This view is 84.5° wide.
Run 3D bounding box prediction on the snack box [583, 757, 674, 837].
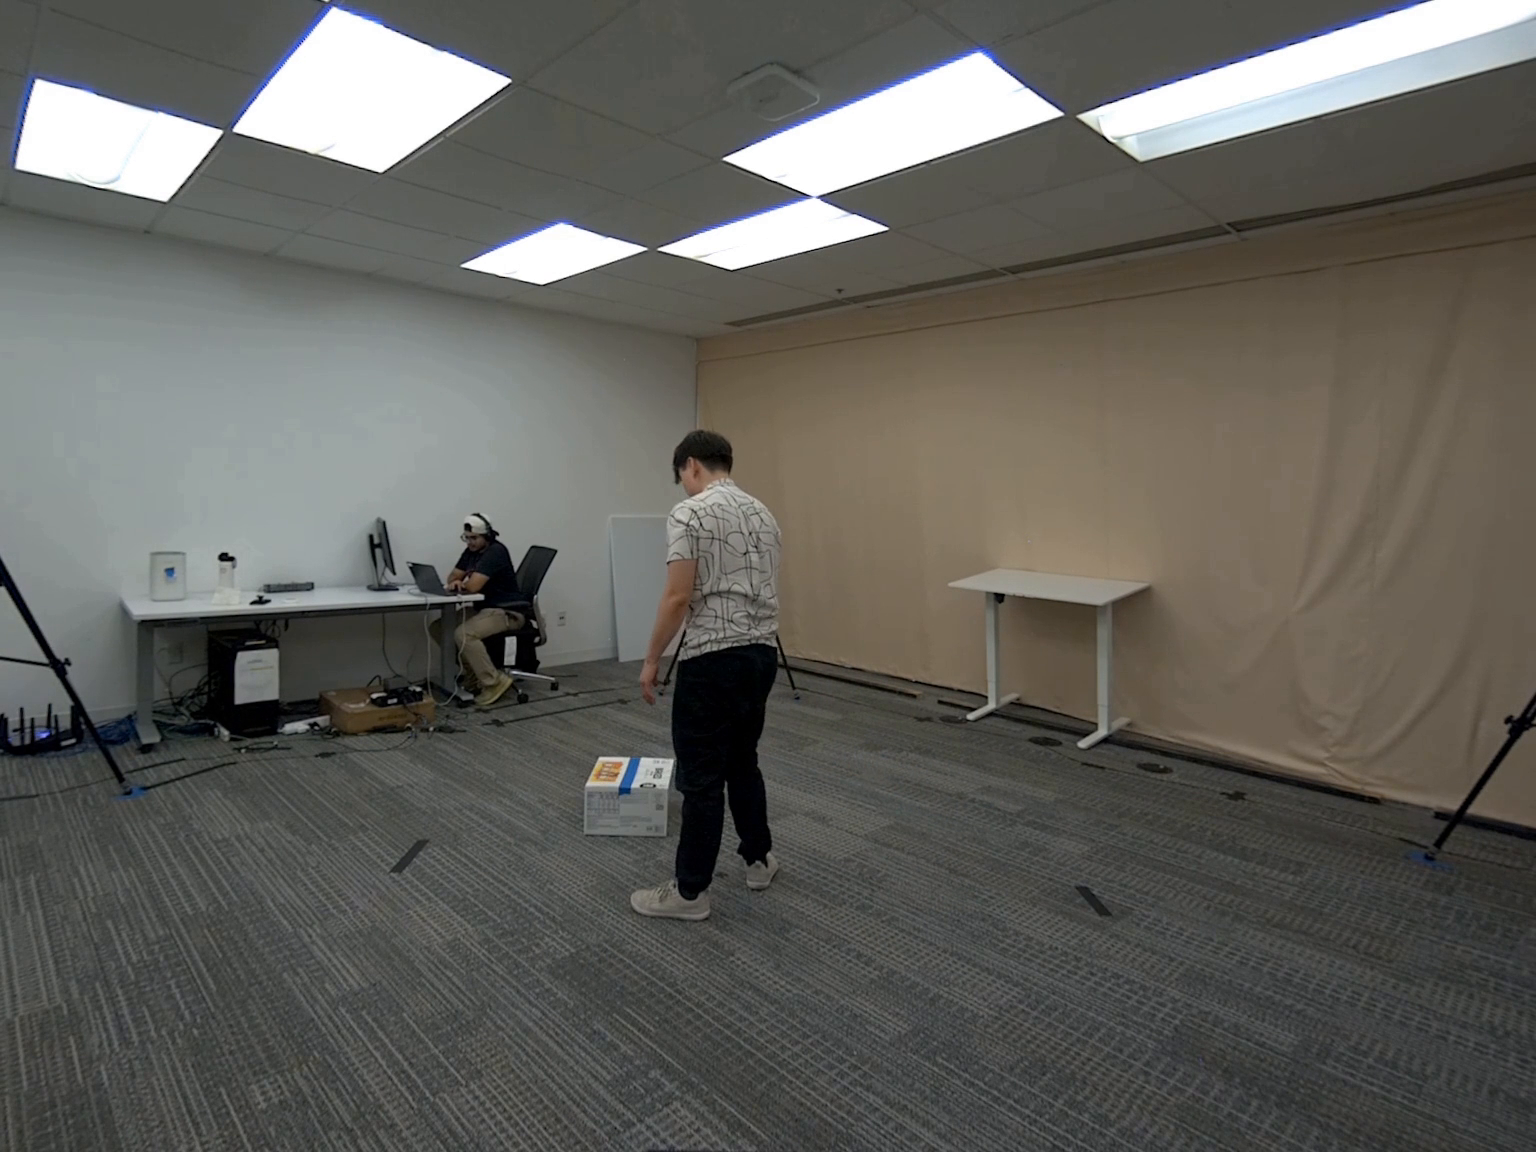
[{"bbox_3d":[-0.599,0.945,3.630,0.340,0.205,0.407,1,4,-2],"label":"snack box"}]
